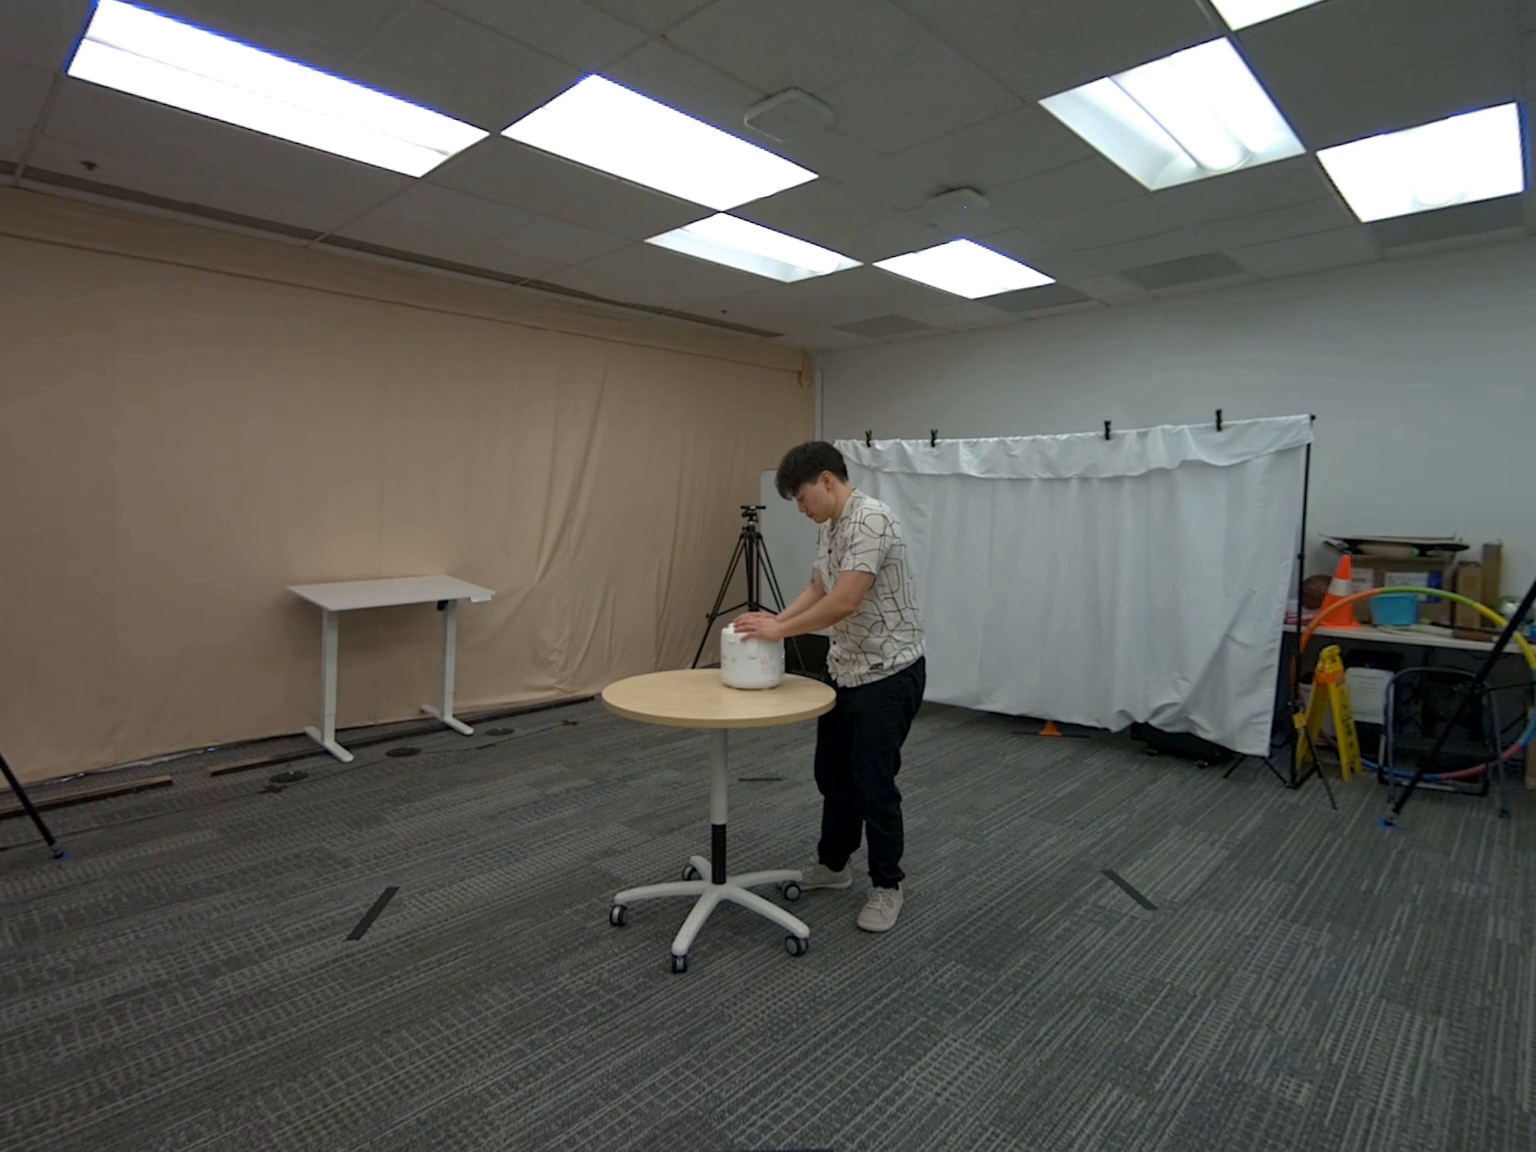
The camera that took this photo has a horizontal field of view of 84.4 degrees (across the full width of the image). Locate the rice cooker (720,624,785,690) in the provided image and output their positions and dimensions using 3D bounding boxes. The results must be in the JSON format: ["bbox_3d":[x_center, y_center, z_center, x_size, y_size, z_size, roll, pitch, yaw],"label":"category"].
[{"bbox_3d":[-0.046,0.259,2.865,0.218,0.232,0.221,0,4,1],"label":"rice cooker"}]
